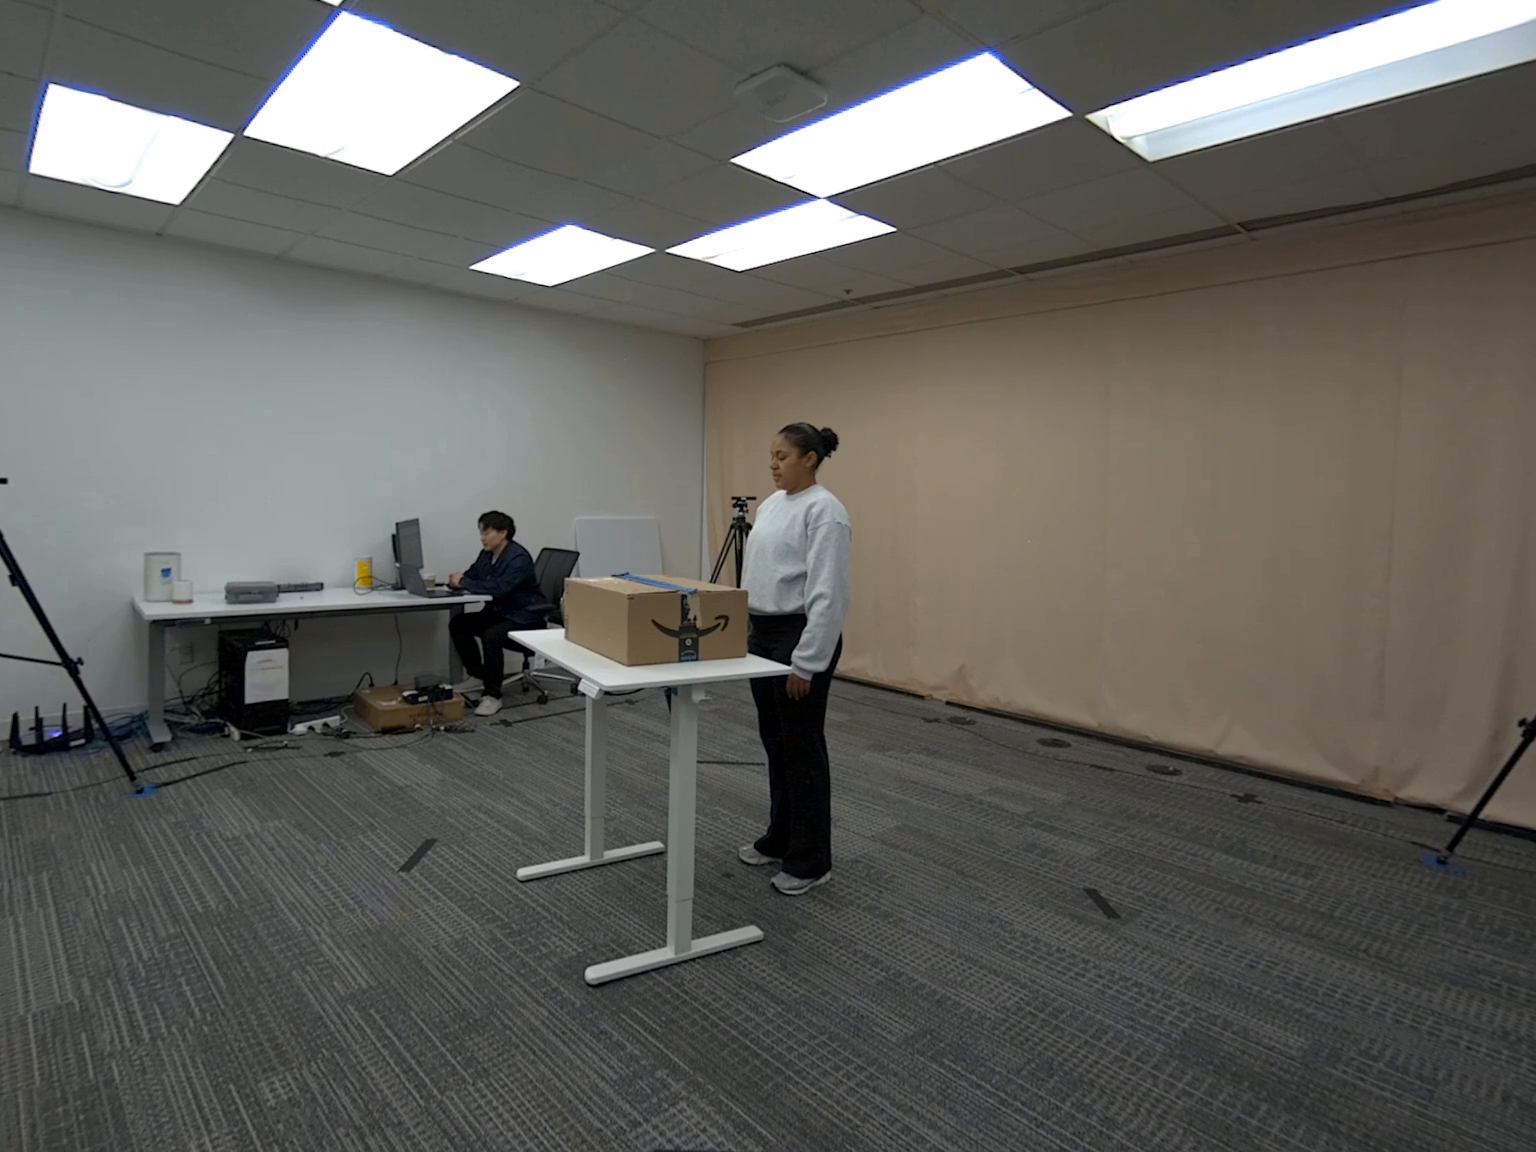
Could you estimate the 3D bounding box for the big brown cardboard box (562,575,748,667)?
[{"bbox_3d":[-0.402,0.134,2.828,0.409,0.232,0.603,-1,6,-31],"label":"big brown cardboard box"}]
